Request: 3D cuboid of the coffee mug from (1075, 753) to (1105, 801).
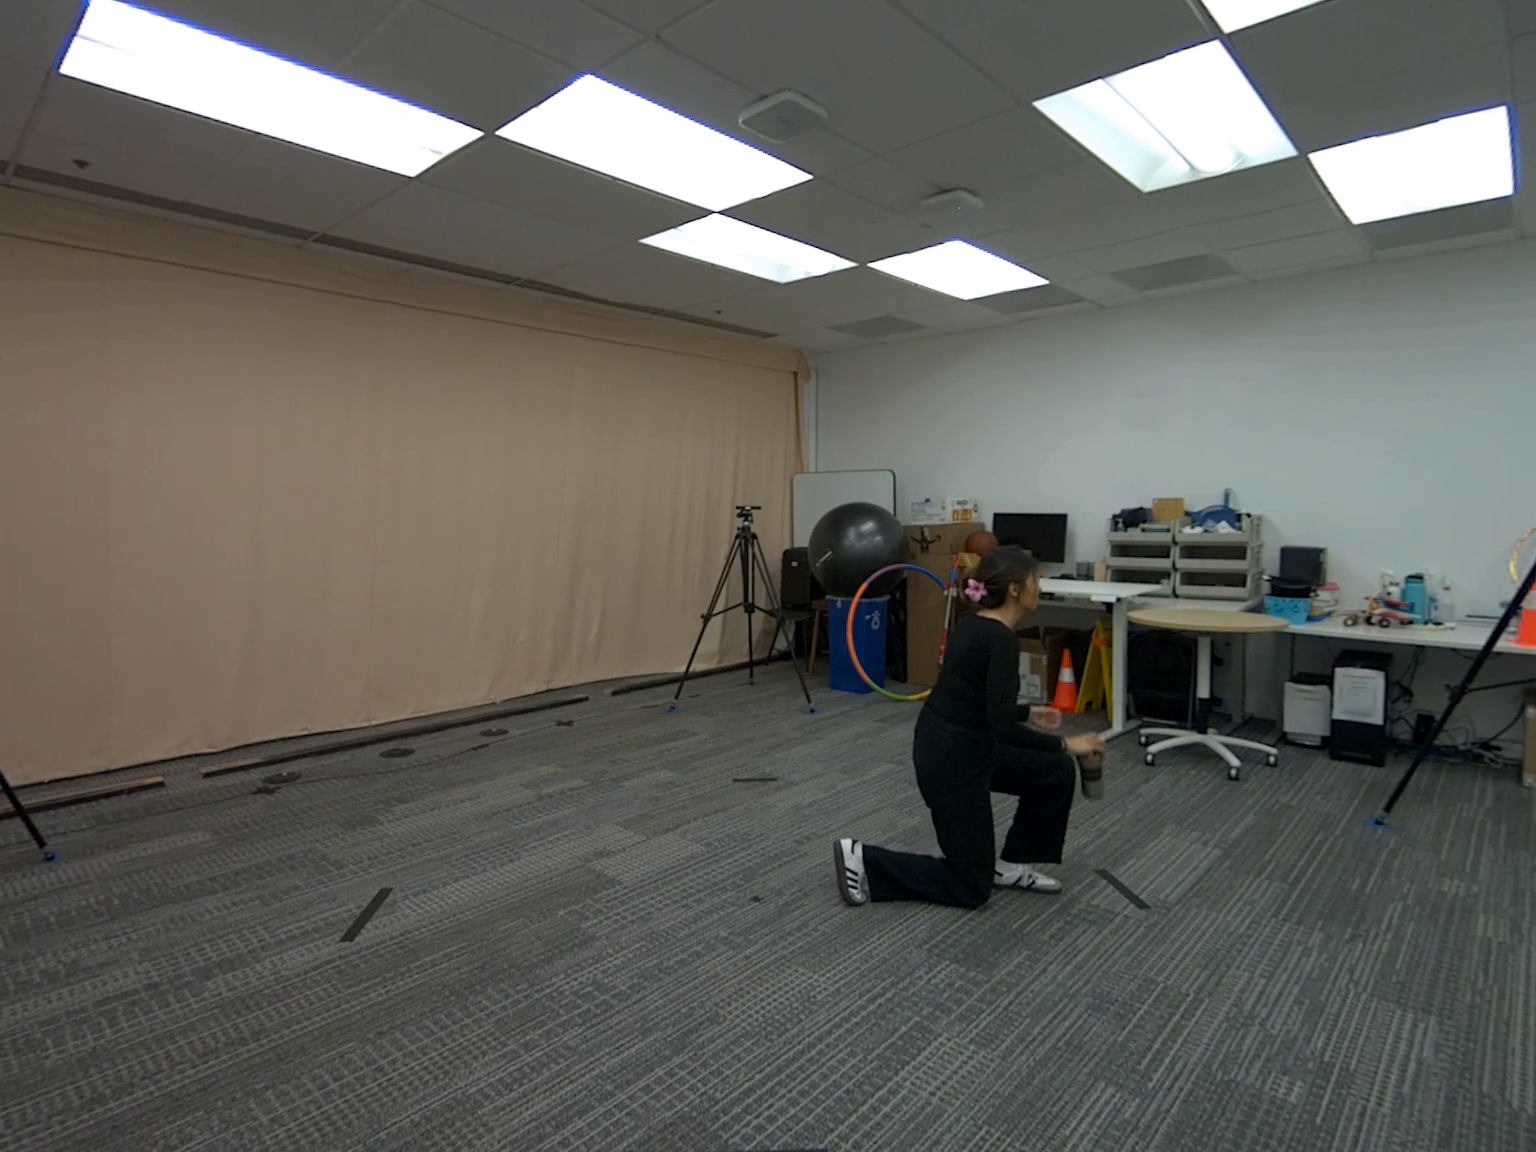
[{"bbox_3d":[1.082,0.614,2.832,0.123,0.199,0.089,-28,20,9],"label":"coffee mug"}]
